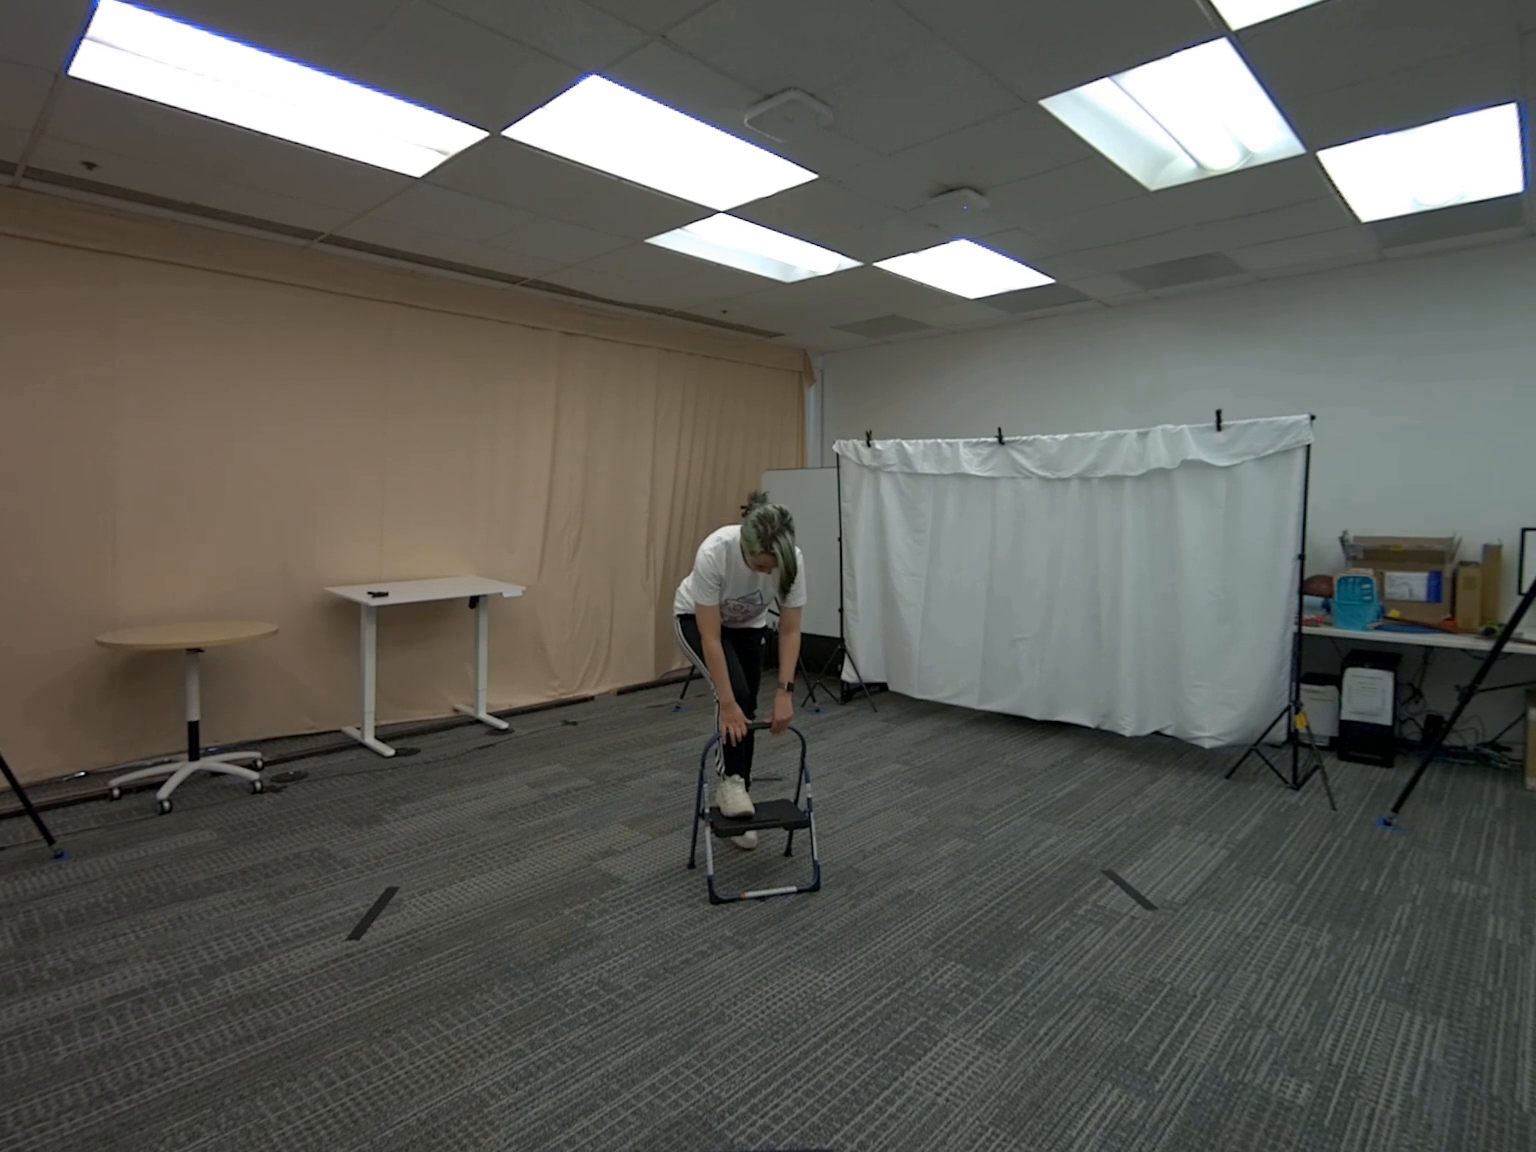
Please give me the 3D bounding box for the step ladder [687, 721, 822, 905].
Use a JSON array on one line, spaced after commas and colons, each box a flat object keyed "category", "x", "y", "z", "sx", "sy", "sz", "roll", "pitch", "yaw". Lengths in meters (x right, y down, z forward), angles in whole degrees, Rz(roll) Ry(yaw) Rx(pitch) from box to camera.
[{"category": "step ladder", "x": -0.055, "y": 0.833, "z": 3.136, "sx": 0.423, "sy": 0.605, "sz": 0.356, "roll": -1, "pitch": 3, "yaw": -17}]
